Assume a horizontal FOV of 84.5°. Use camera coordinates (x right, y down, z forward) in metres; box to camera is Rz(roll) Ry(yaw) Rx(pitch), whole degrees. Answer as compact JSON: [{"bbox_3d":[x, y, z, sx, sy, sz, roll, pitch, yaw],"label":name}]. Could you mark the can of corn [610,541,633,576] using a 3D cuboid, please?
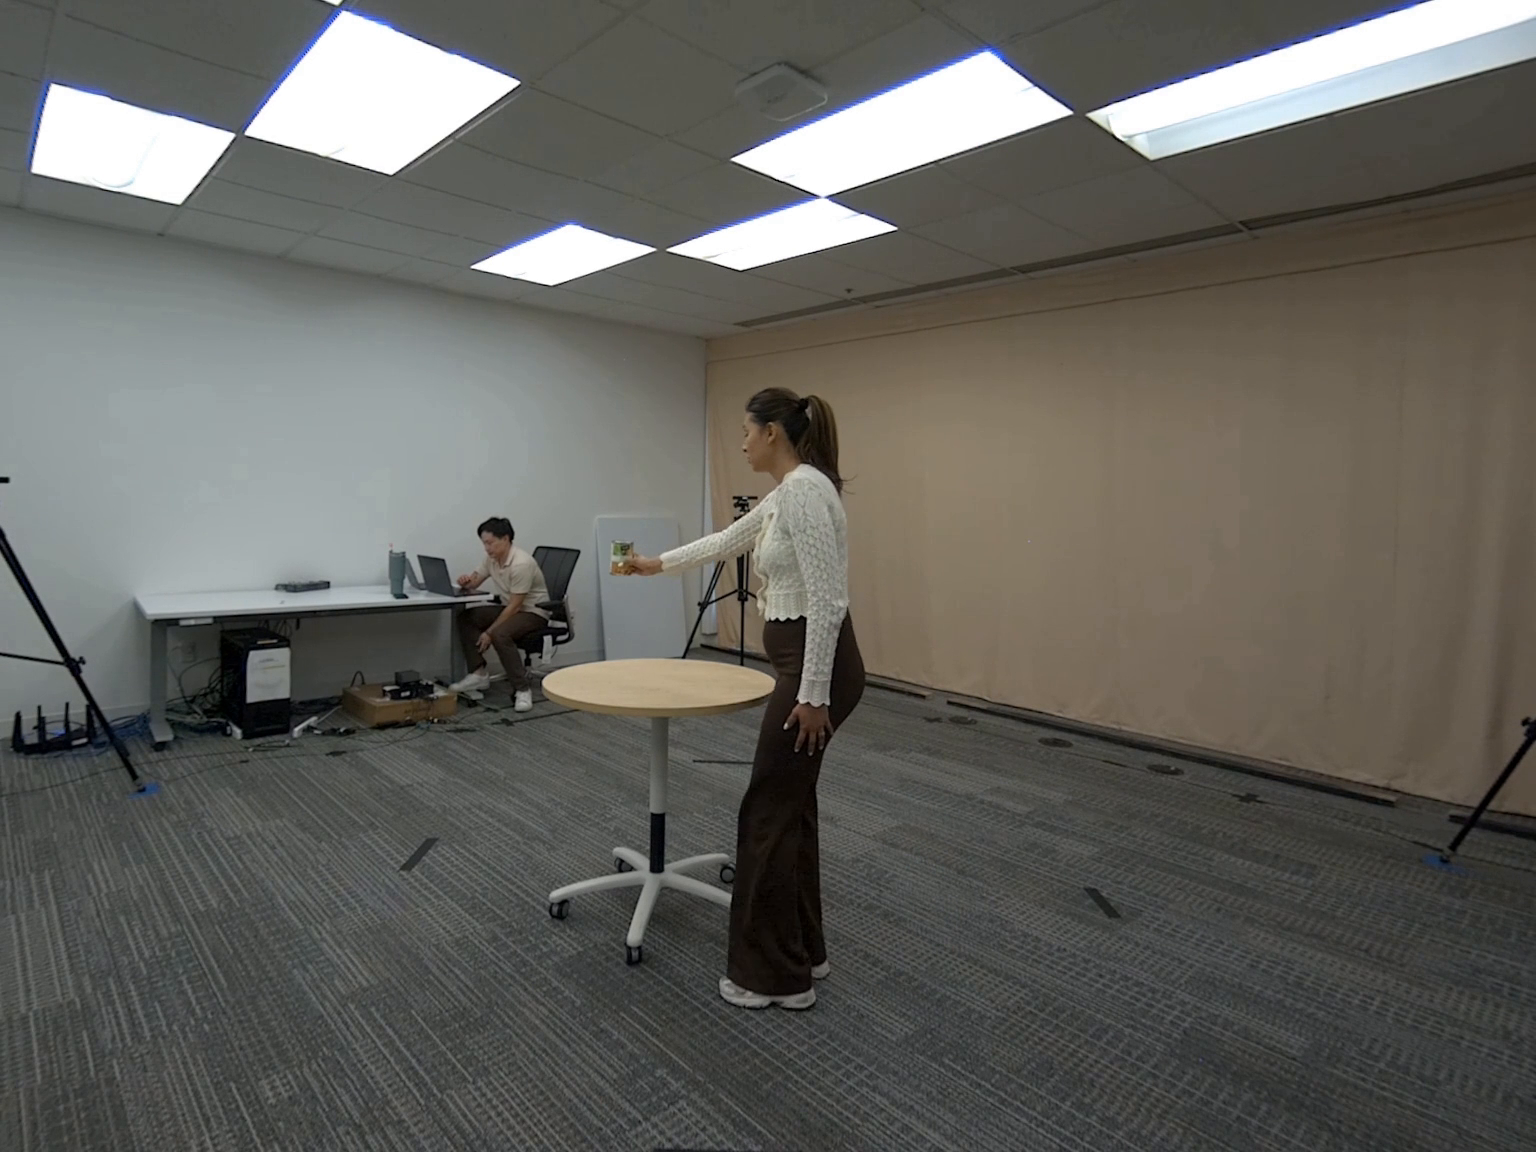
[{"bbox_3d":[-0.497,-0.060,2.847,0.074,0.111,0.074,2,5,-2],"label":"can of corn"}]
